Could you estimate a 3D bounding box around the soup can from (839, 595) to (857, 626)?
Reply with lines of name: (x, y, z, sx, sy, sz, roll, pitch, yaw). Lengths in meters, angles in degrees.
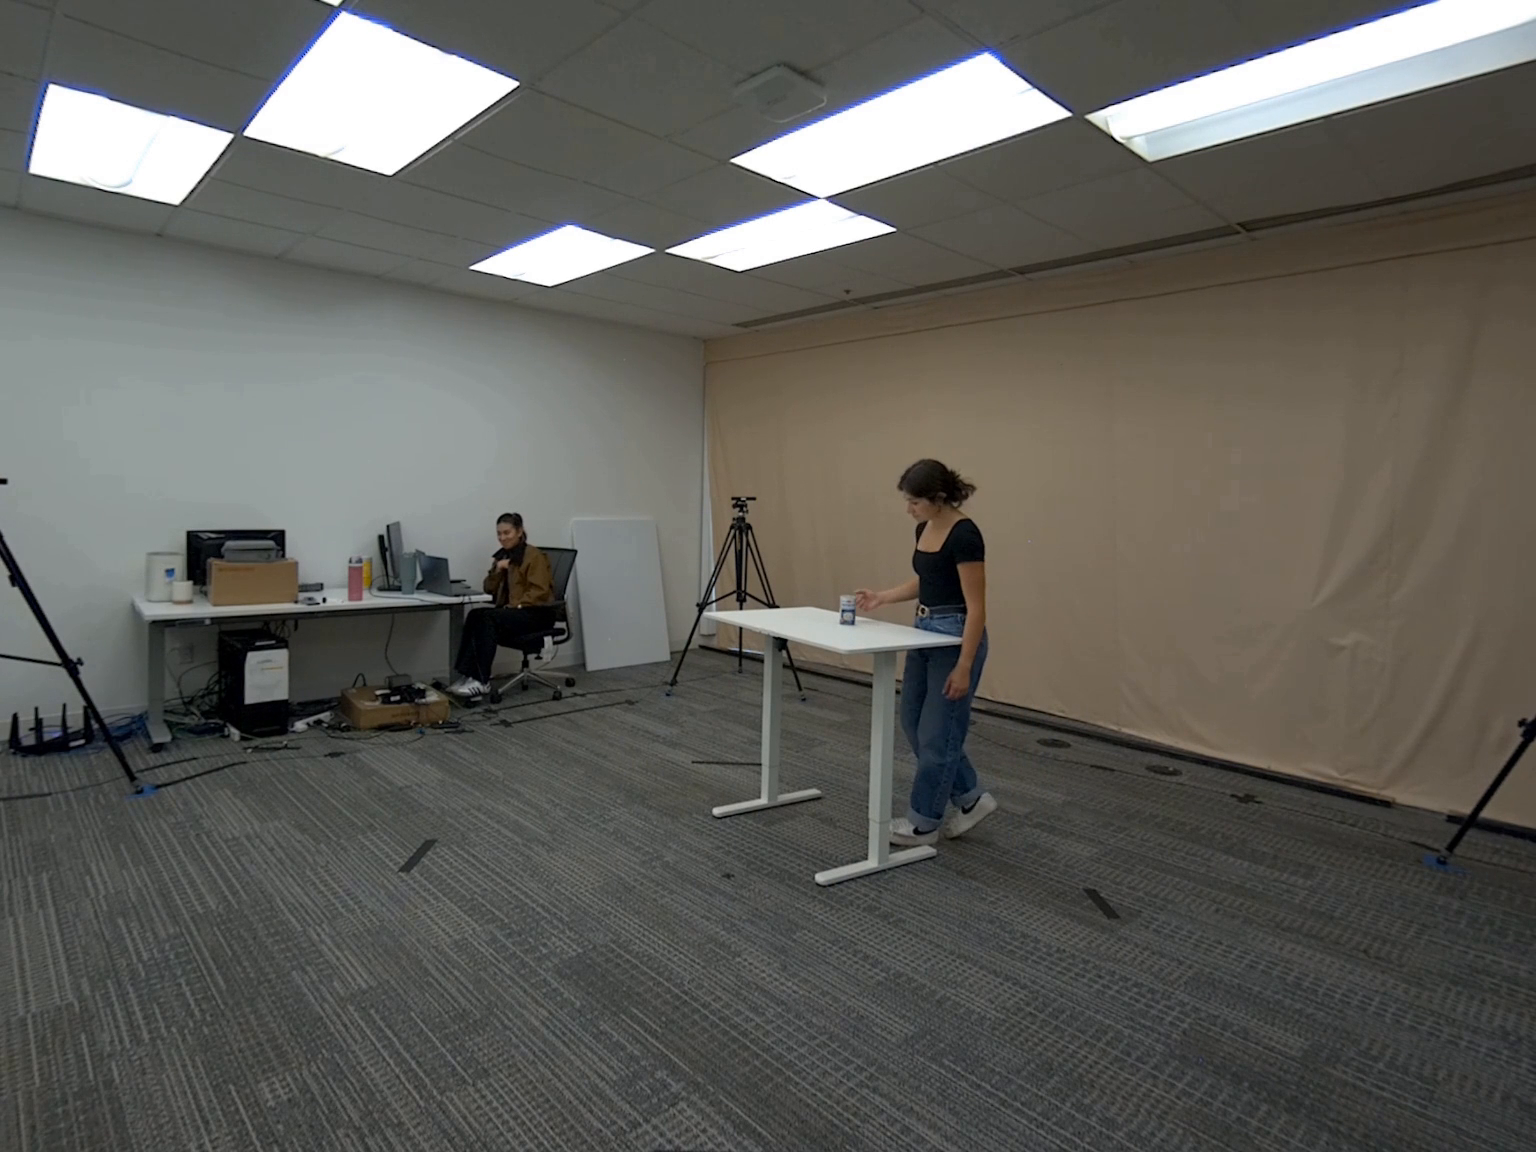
soup can: (0.329, 0.143, 3.508, 0.067, 0.121, 0.067, 1, 1, -1)
